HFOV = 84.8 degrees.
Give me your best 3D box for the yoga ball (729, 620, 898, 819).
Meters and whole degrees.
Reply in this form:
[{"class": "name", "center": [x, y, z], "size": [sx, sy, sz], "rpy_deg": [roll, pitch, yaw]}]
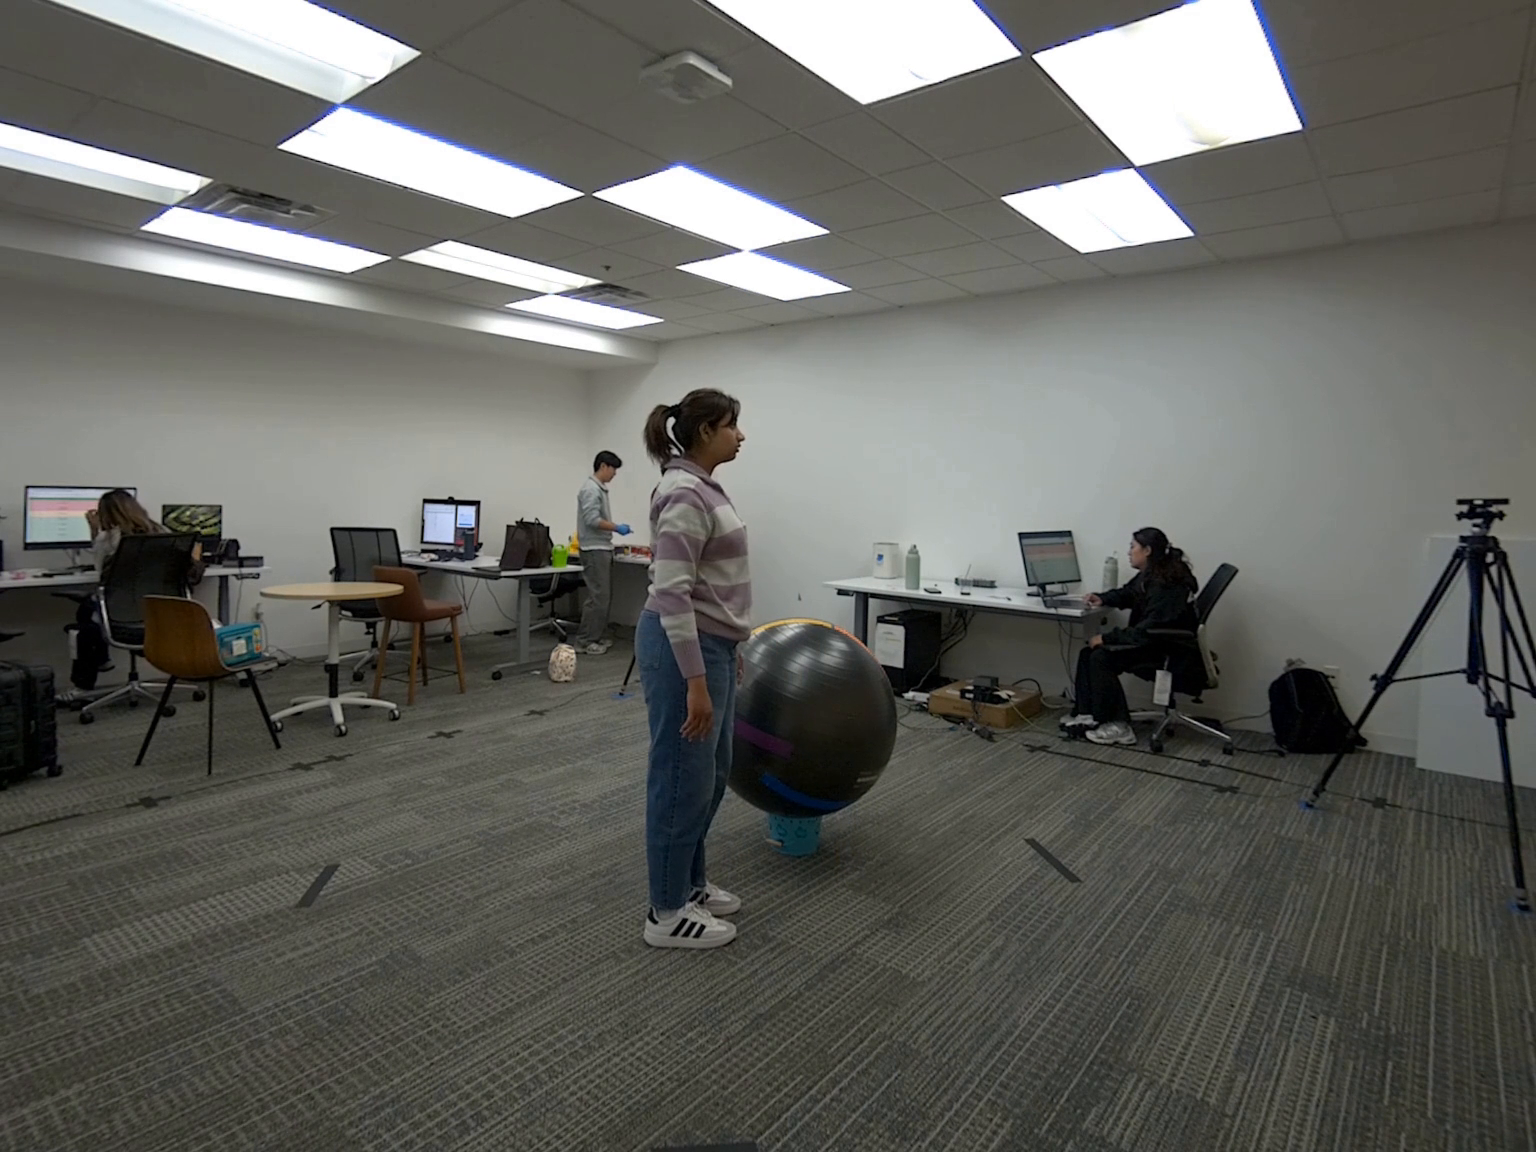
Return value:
[{"class": "yoga ball", "center": [0.127, 0.550, 3.322], "size": [0.757, 0.756, 0.762], "rpy_deg": [1, 4, -2]}]
